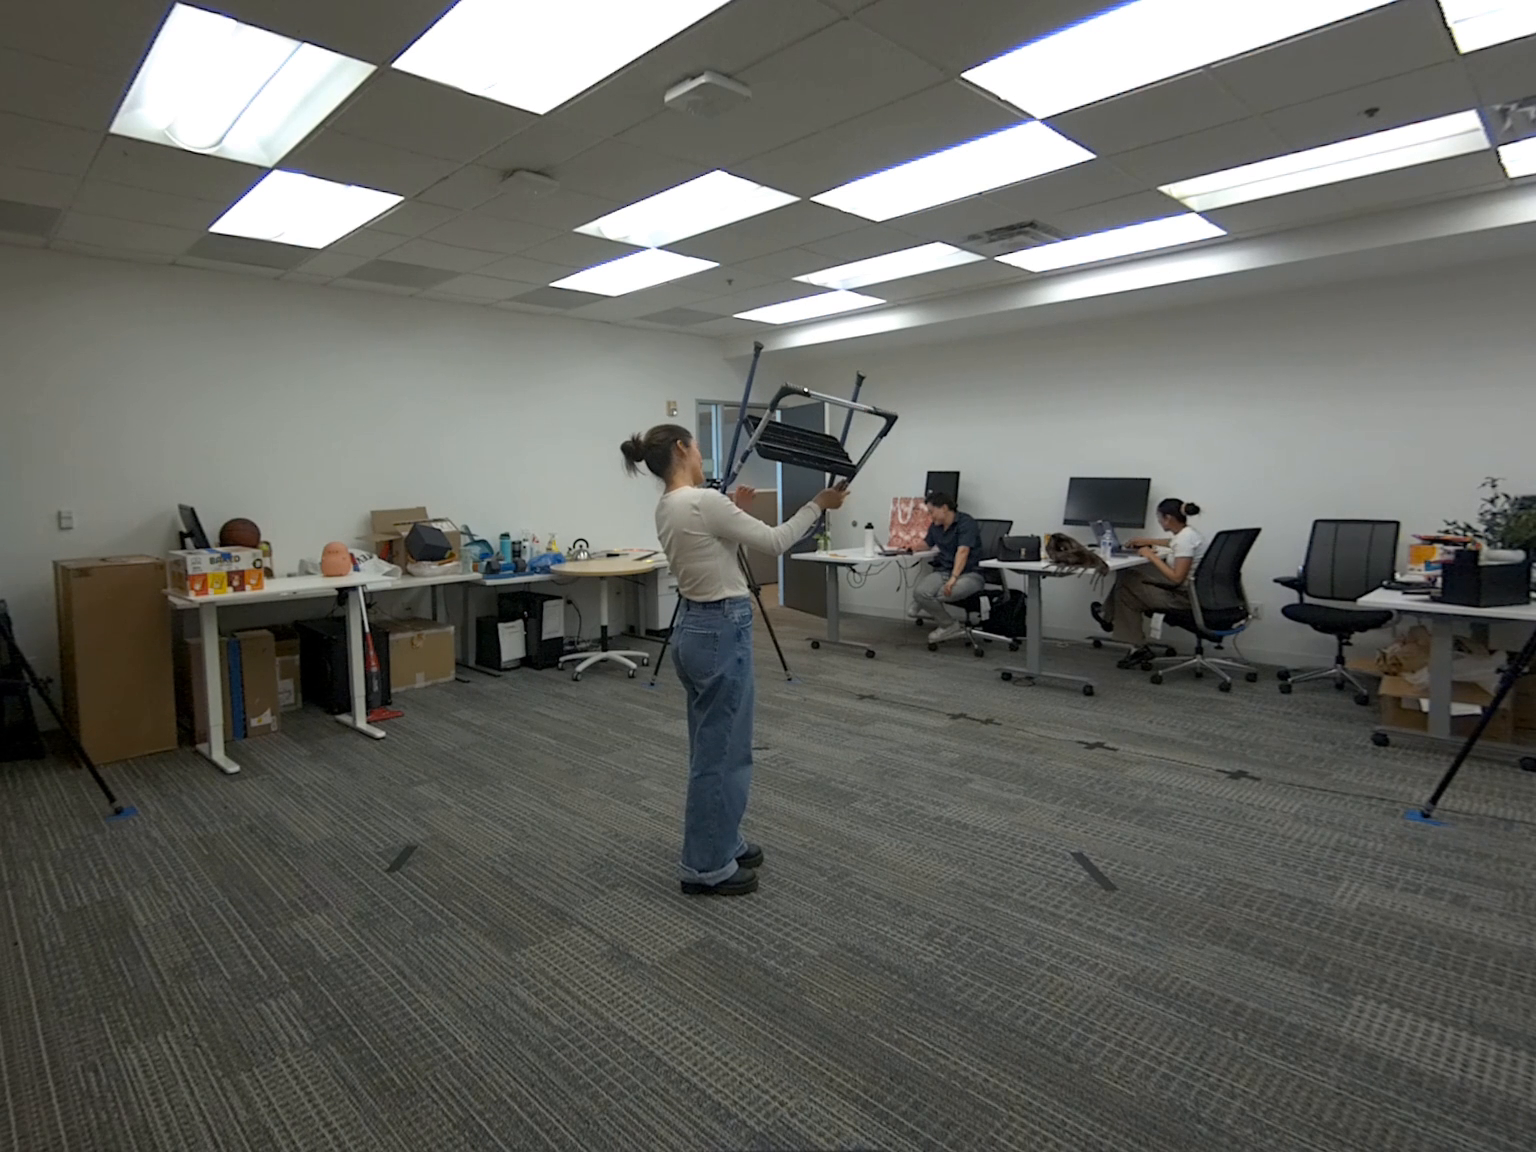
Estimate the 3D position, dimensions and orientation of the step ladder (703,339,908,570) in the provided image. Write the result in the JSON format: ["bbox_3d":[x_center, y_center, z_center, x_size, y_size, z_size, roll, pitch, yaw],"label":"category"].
[{"bbox_3d":[0.085,-0.401,2.890,0.420,0.599,0.361,11,31,-24],"label":"step ladder"}]
